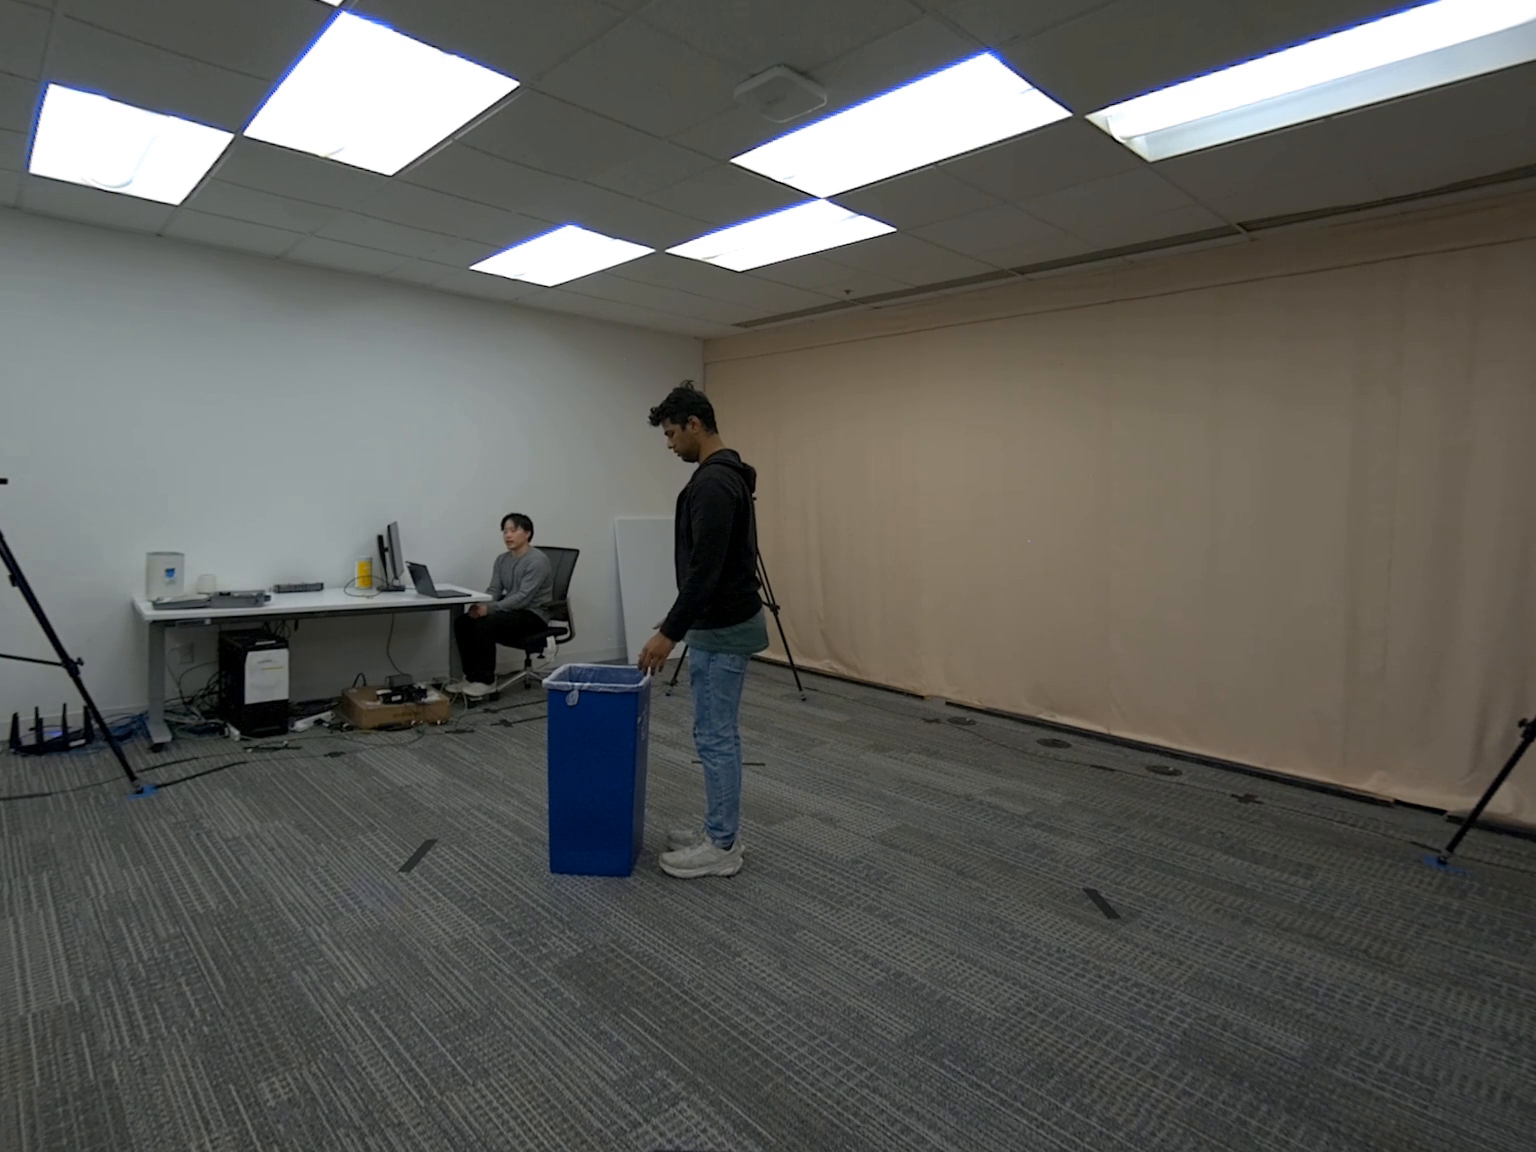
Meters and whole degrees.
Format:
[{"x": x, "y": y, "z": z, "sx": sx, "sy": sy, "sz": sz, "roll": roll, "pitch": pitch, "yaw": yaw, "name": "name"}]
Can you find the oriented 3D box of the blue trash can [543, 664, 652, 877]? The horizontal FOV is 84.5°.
[{"x": -0.647, "y": 0.729, "z": 3.215, "sx": 0.379, "sy": 0.712, "sz": 0.374, "roll": 2, "pitch": 3, "yaw": 2, "name": "blue trash can"}]
